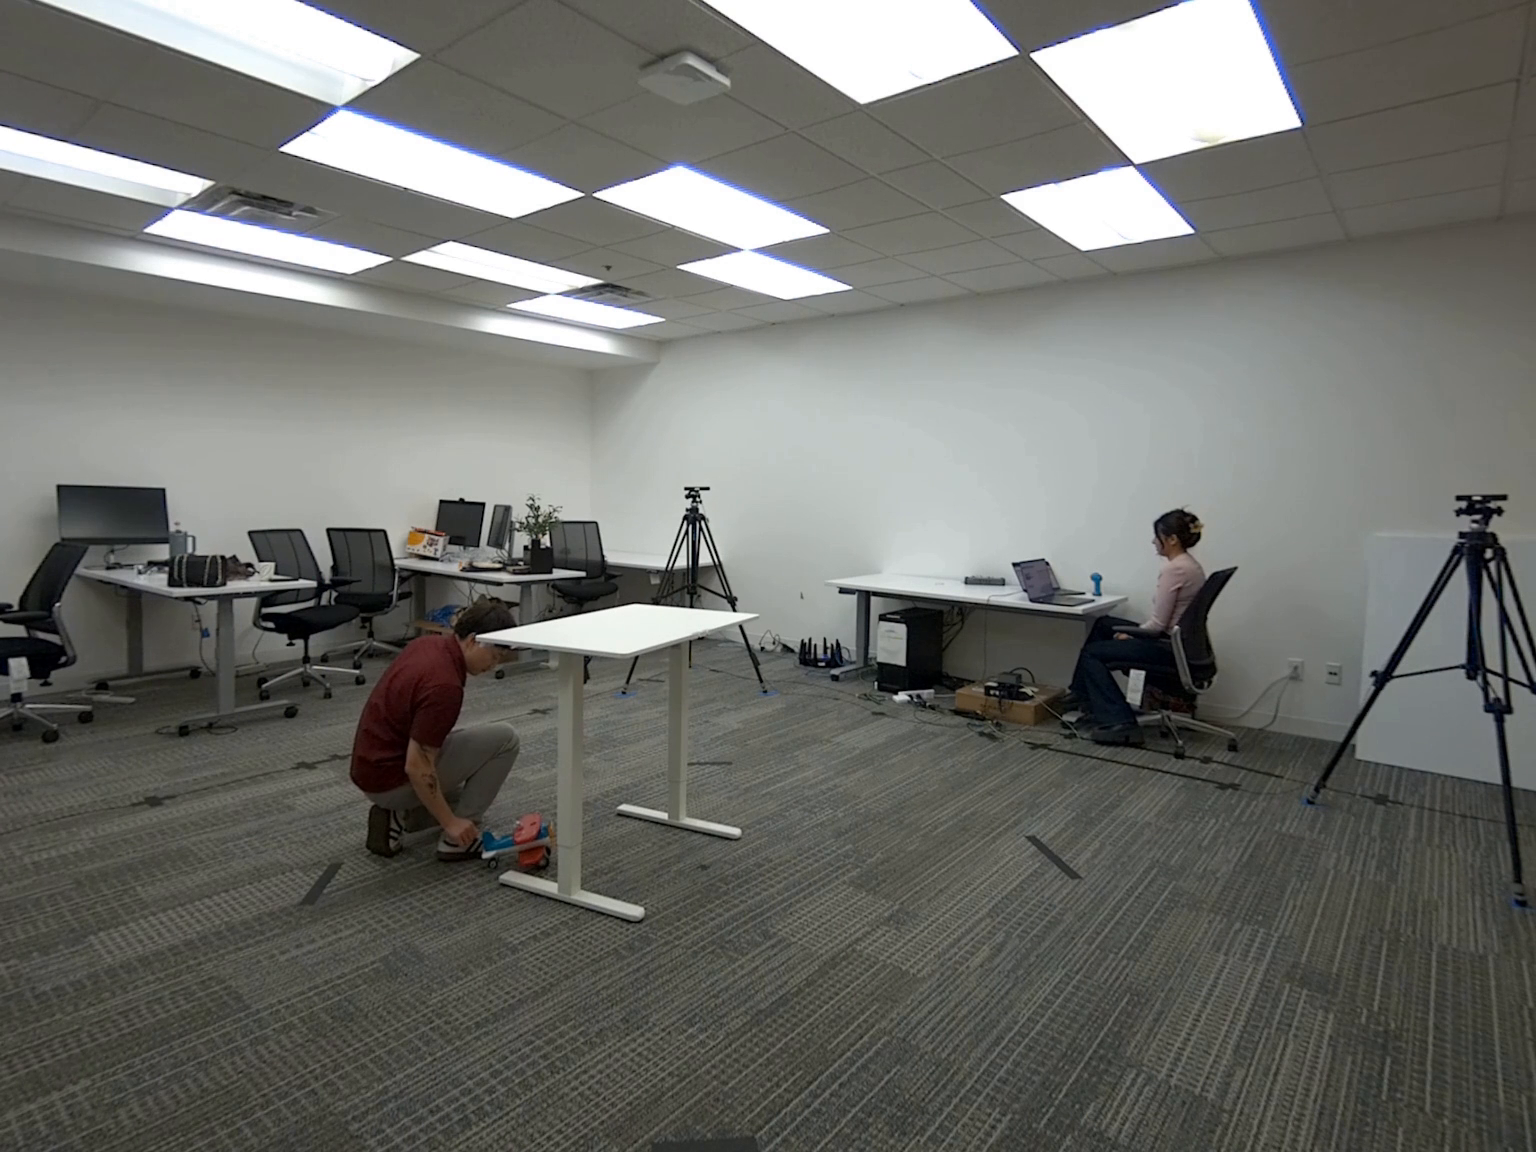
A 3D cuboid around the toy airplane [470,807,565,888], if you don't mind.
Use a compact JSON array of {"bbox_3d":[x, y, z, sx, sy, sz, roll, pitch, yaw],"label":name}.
[{"bbox_3d":[-0.922,0.985,3.081,0.251,0.156,0.259,-1,3,-36],"label":"toy airplane"}]
